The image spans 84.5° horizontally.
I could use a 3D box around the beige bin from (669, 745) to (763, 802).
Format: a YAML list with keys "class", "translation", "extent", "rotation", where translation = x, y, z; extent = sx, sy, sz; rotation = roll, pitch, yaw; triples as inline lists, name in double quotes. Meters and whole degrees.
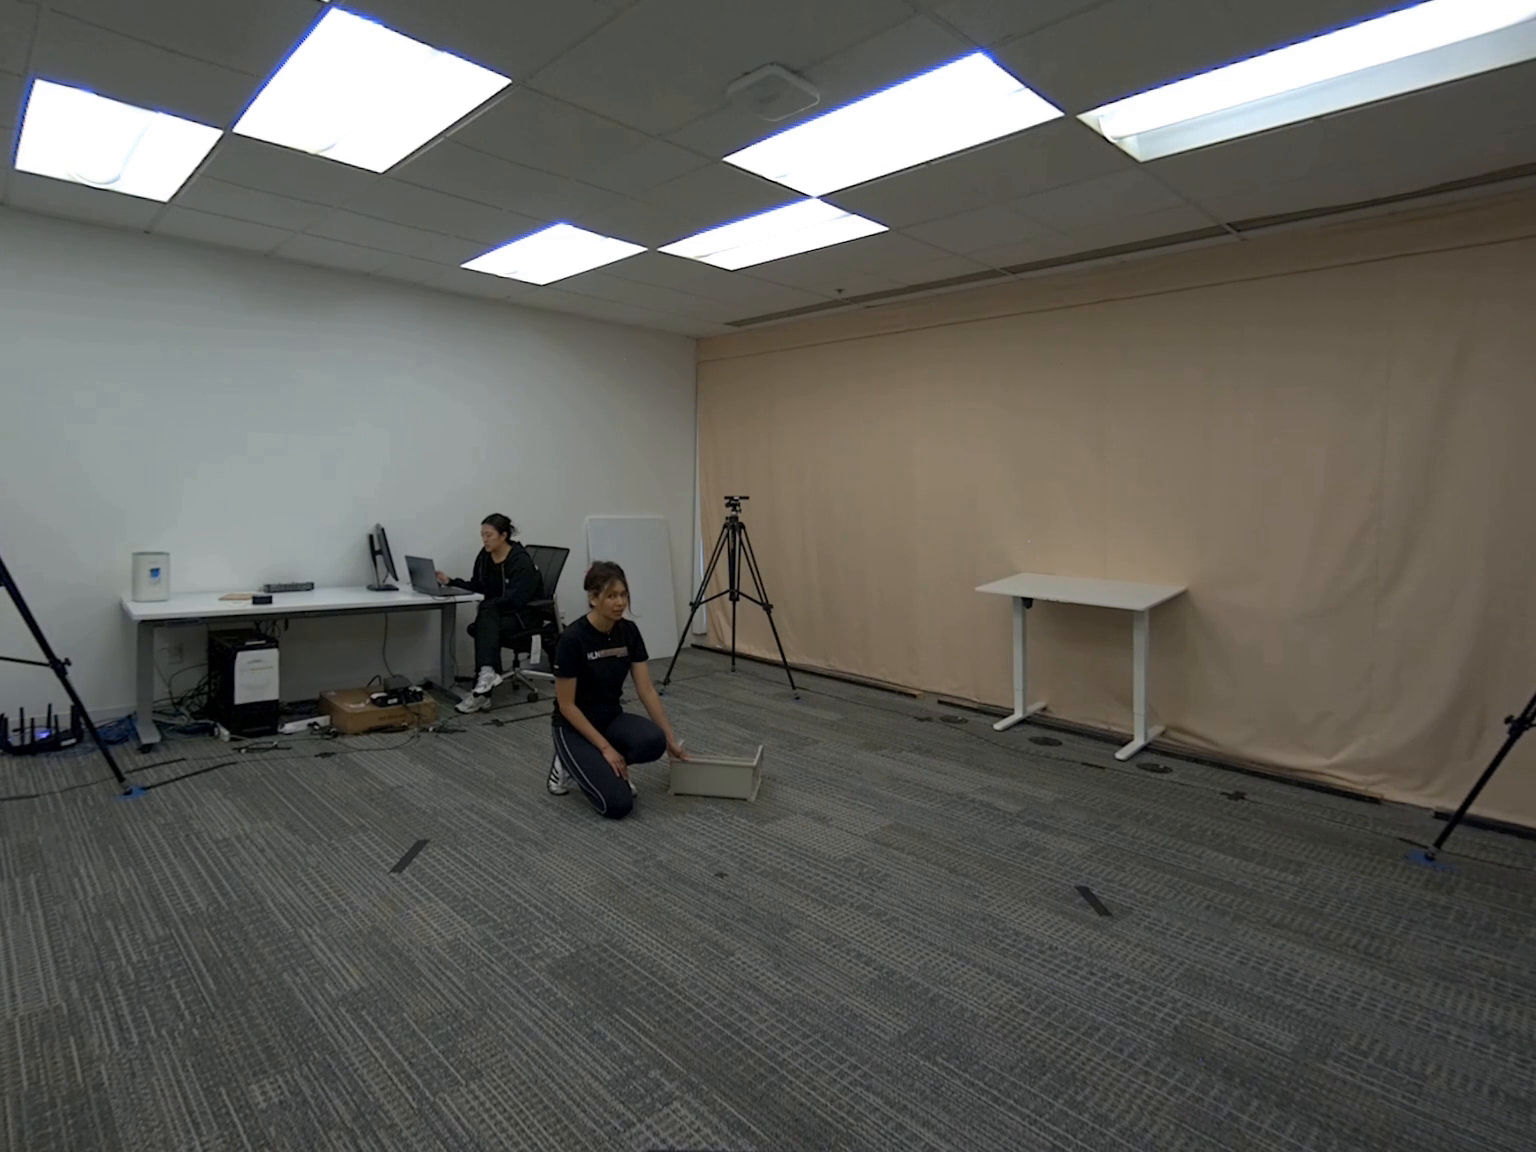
- class: "beige bin"
  translation: [-0.260, 0.929, 4.091]
  extent: [0.425, 0.188, 0.376]
  rotation: [2, 6, 6]
